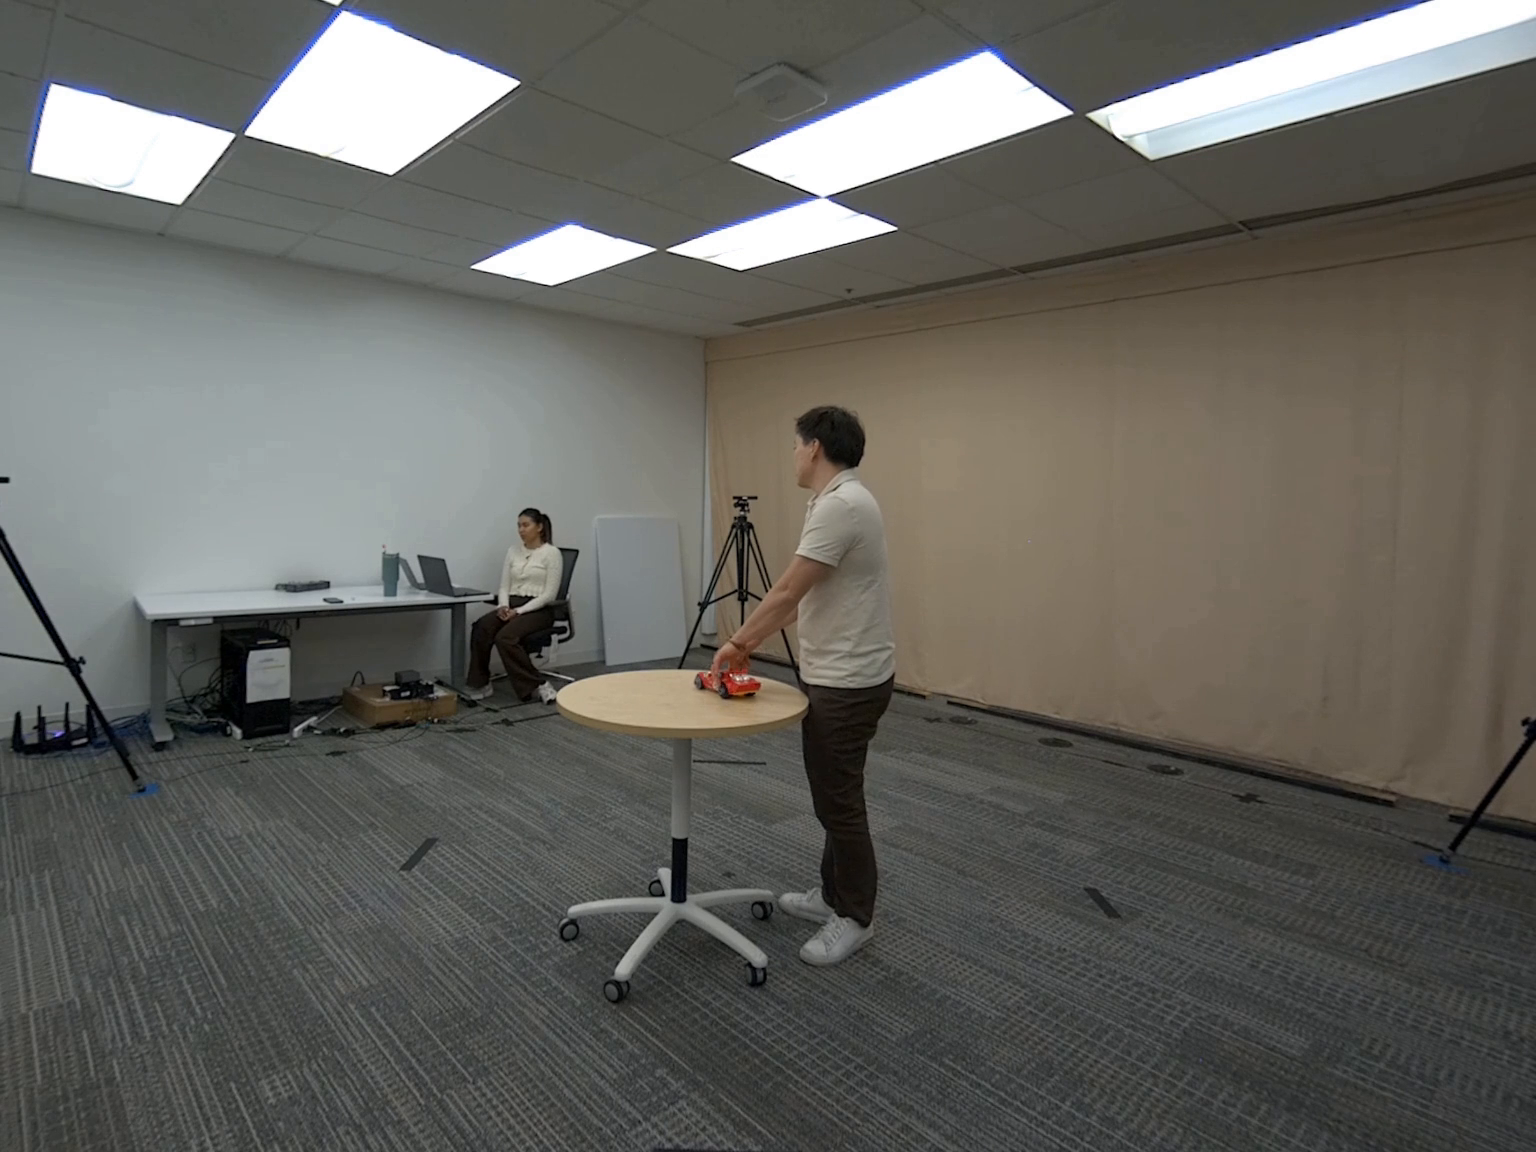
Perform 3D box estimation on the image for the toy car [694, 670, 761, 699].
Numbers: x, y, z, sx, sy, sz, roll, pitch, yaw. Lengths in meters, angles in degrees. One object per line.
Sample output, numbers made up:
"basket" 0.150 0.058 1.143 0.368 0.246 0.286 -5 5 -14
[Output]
"toy car" -0.123 0.336 2.605 0.127 0.083 0.259 -1 -4 -34
